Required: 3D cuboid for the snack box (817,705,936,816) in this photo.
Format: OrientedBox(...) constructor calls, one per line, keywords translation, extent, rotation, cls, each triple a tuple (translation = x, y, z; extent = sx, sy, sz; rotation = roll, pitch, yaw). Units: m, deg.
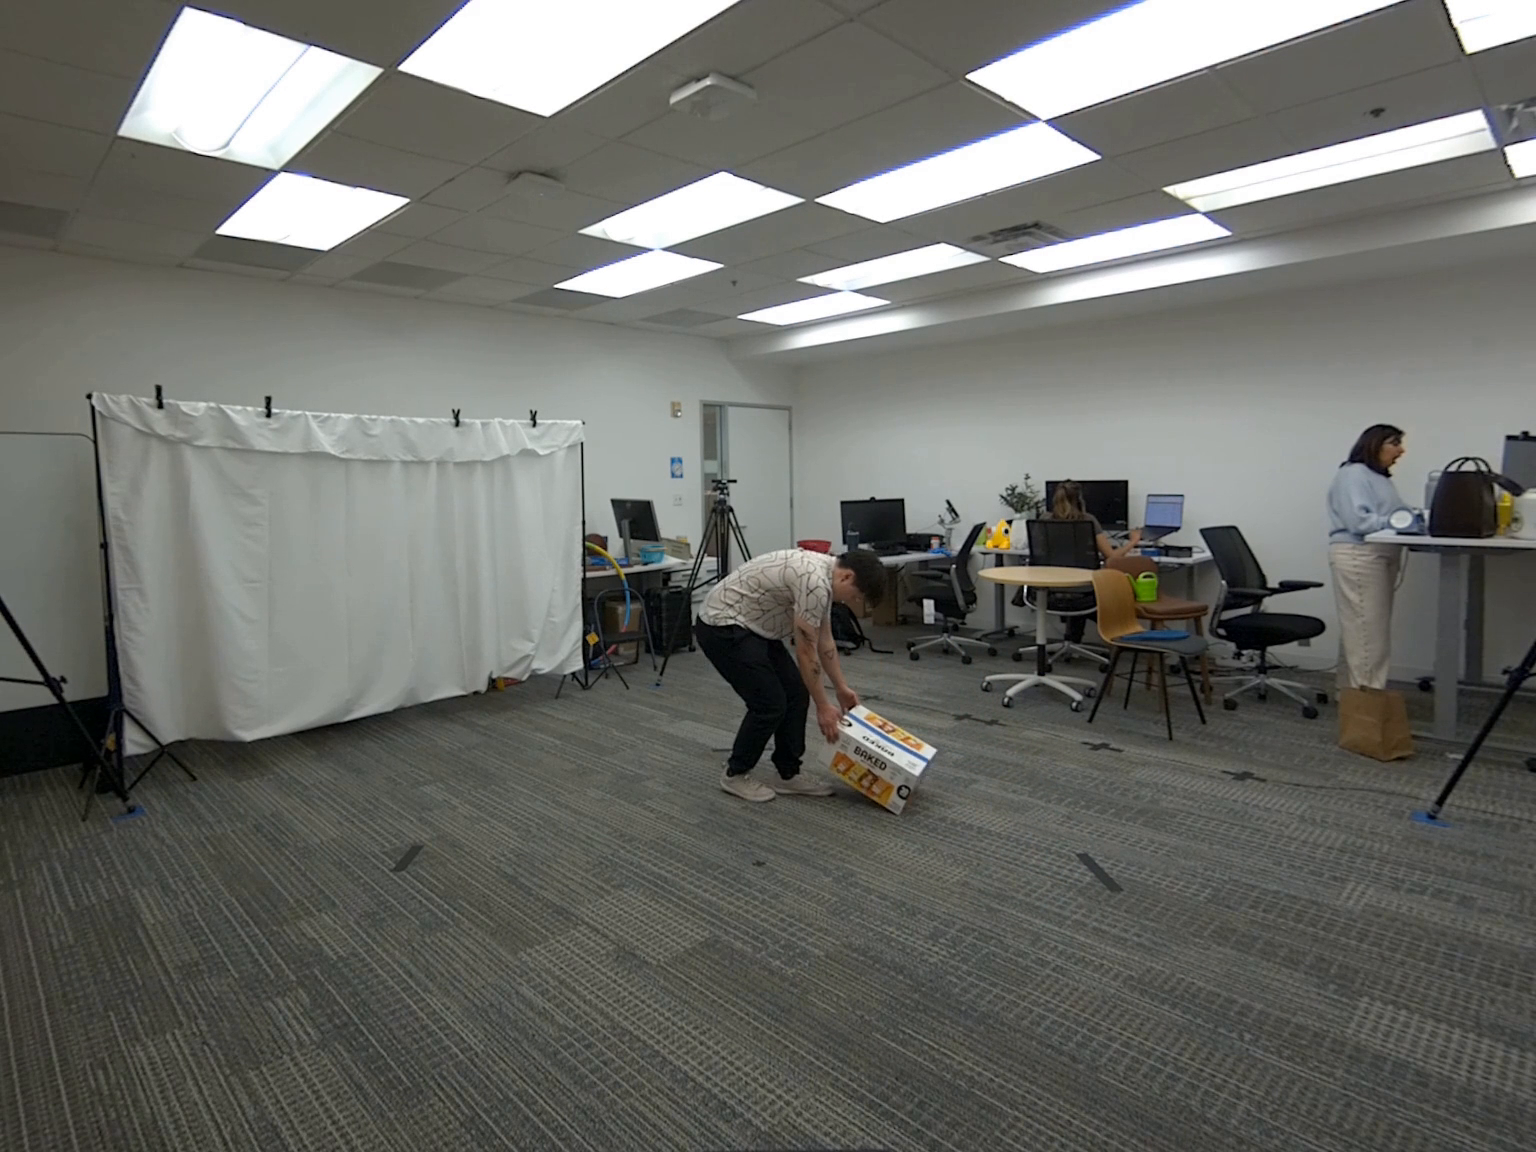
OrientedBox(translation=(0.474, 0.789, 3.724), extent=(0.416, 0.204, 0.334), rotation=(28, 17, 20), cls="snack box")
